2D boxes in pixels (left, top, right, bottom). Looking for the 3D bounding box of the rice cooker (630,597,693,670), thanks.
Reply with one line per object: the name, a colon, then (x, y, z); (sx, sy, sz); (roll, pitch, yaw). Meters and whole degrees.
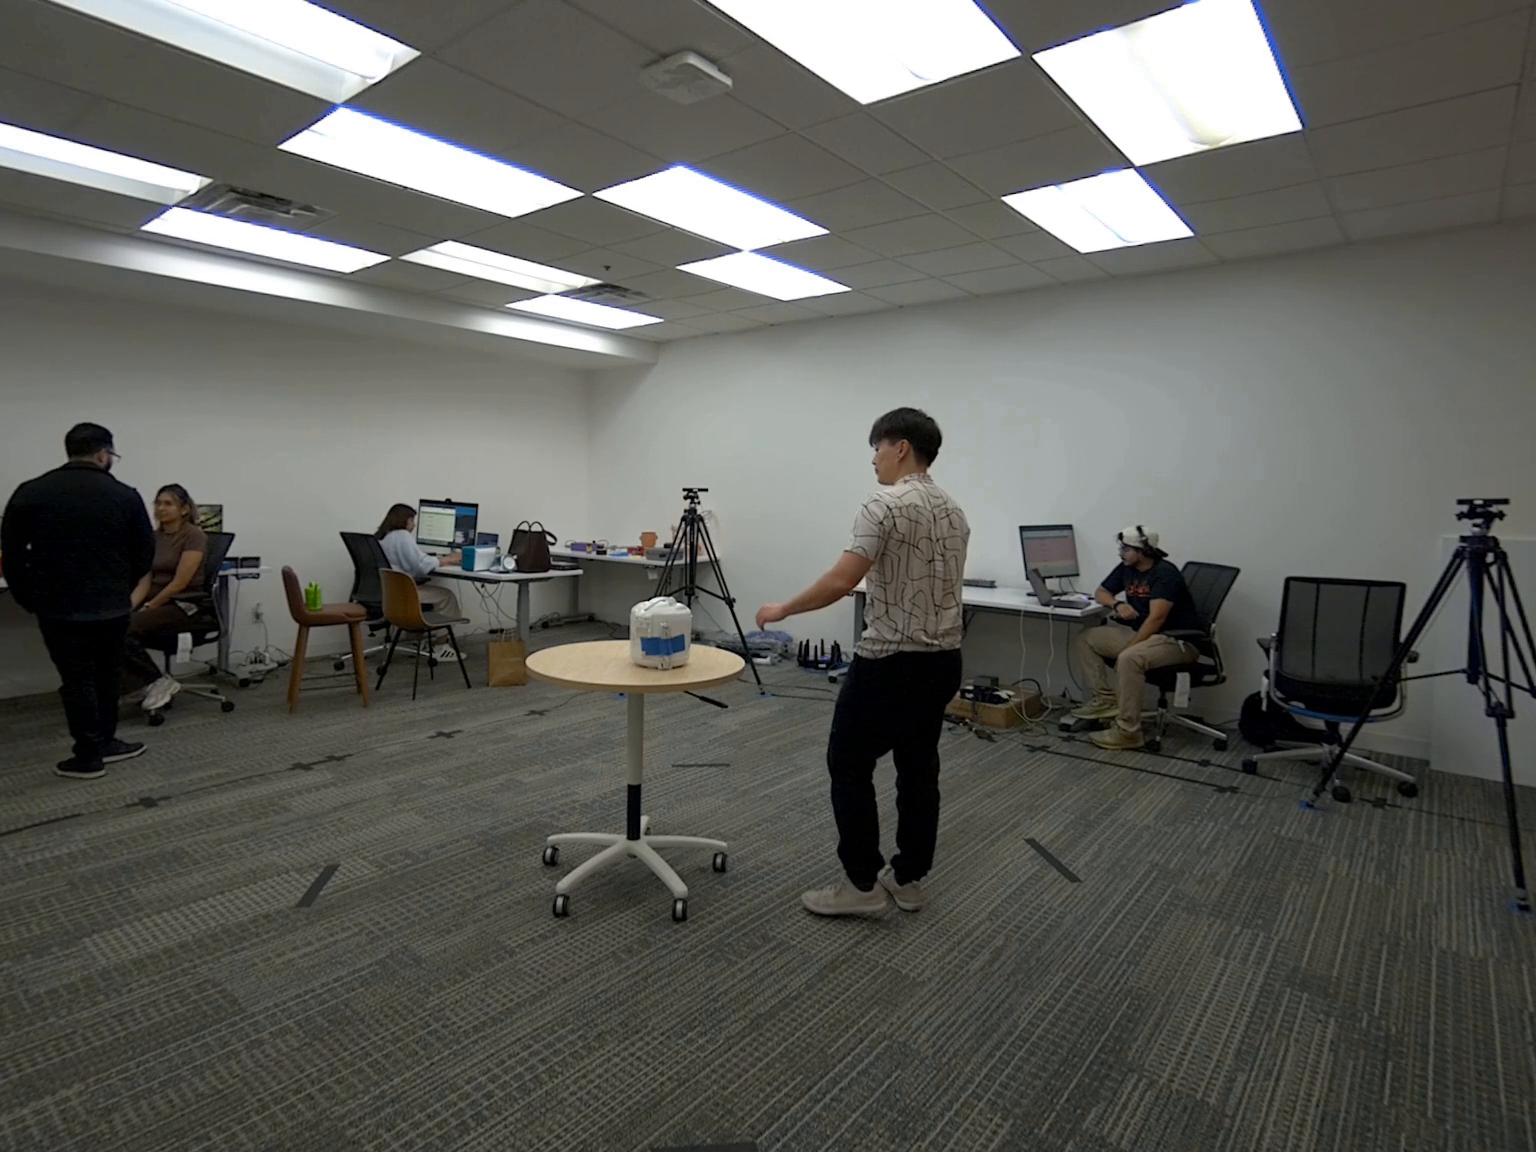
rice cooker: (-0.383, 0.185, 2.936); (0.224, 0.232, 0.215); (6, 6, 31)
